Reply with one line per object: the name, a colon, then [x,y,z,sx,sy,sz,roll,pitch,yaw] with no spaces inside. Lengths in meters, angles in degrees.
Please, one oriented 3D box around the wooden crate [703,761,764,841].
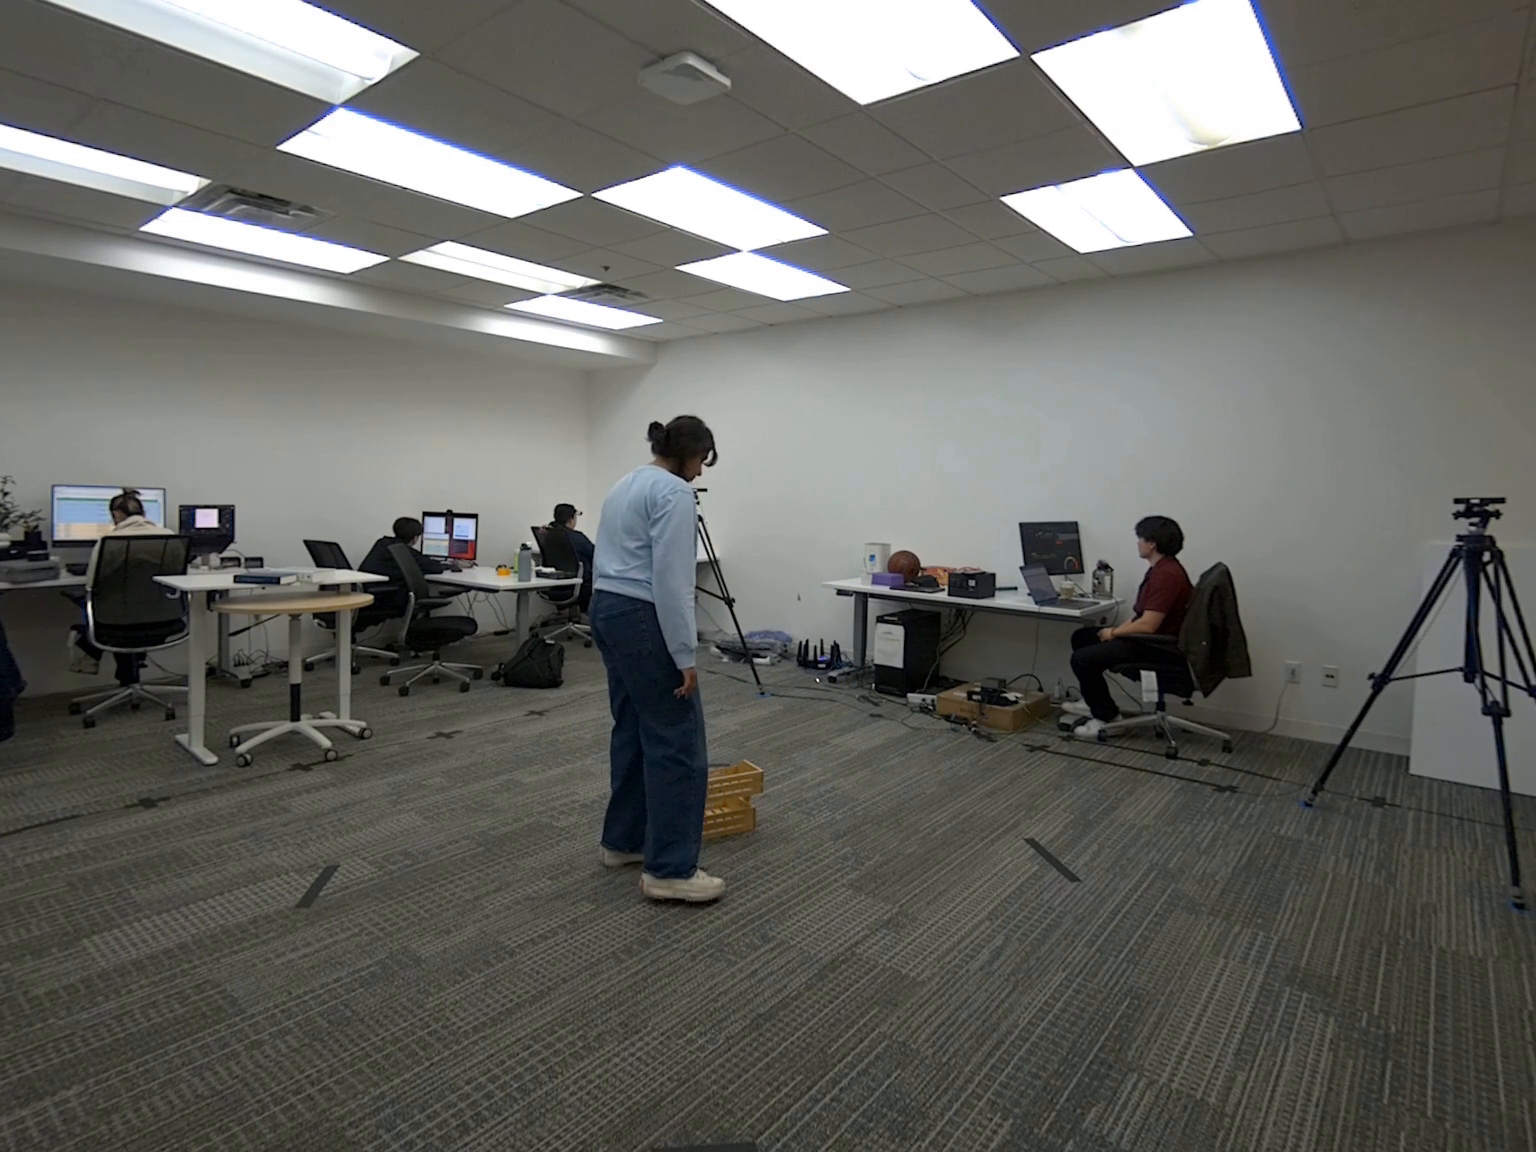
wooden crate: [-0.238,0.898,3.502,0.316,0.272,0.312,-2,6,-31]
